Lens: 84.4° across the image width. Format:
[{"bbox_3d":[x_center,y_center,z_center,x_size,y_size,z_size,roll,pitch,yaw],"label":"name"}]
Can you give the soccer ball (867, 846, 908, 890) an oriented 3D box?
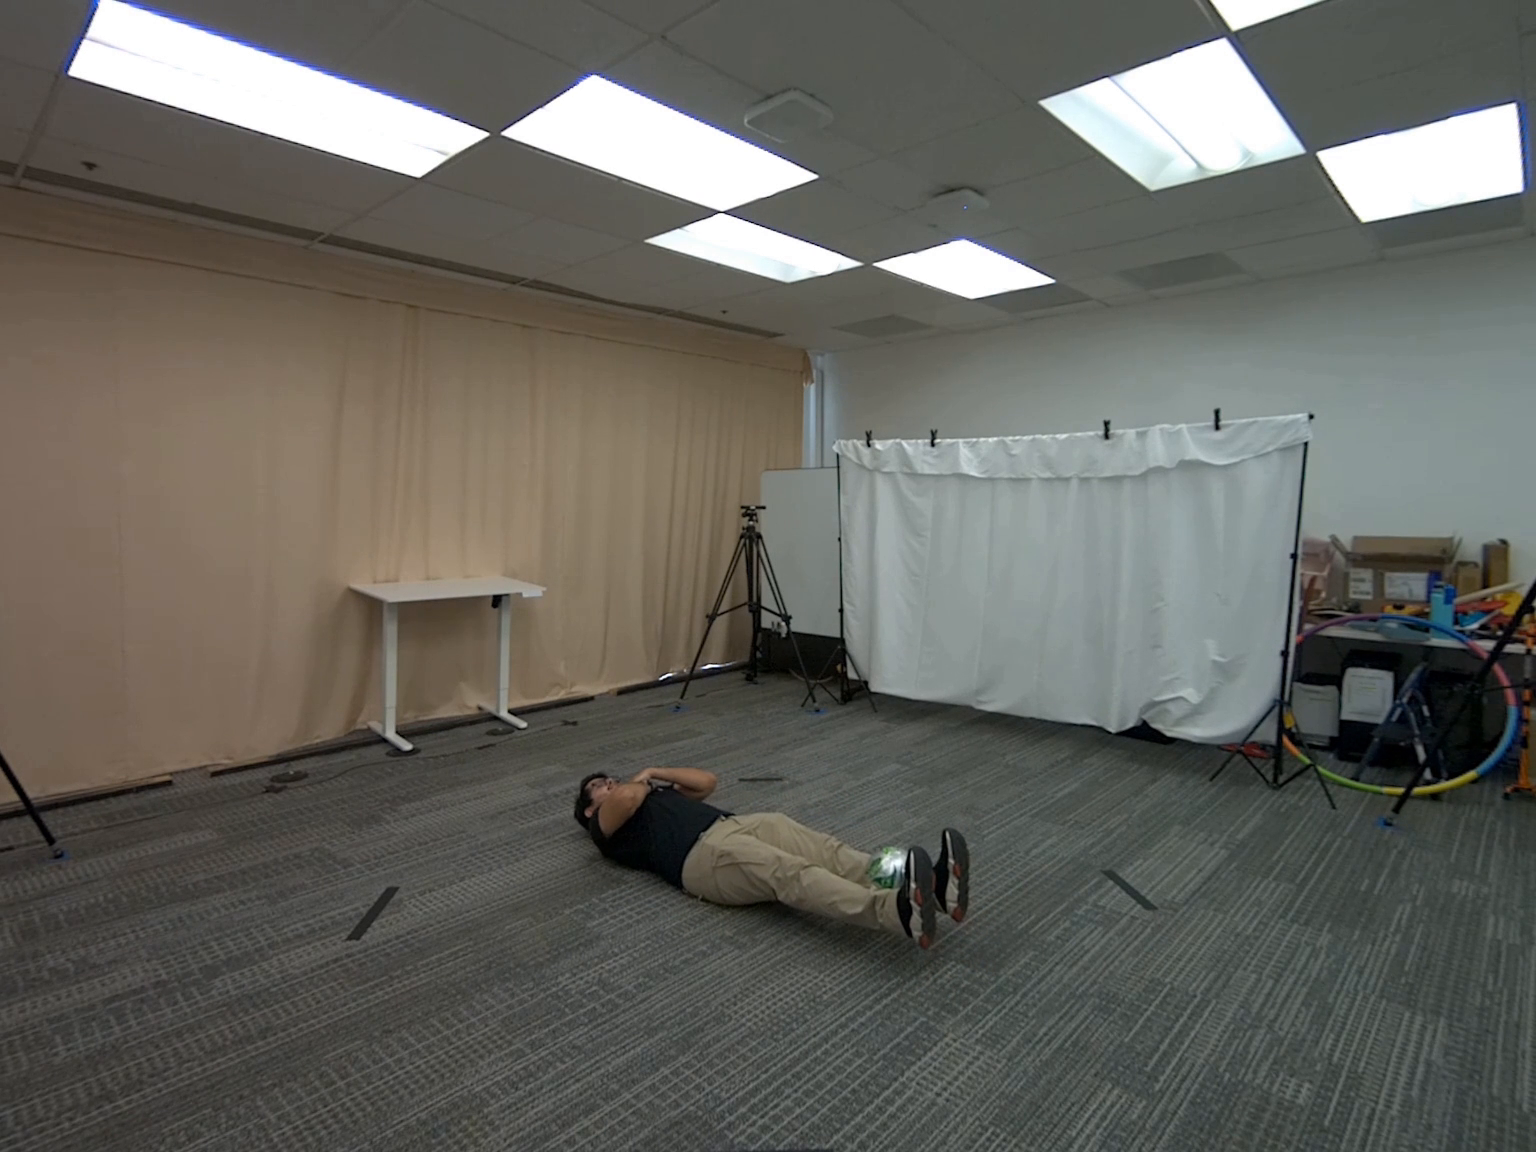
[{"bbox_3d":[0.411,0.960,2.655,0.187,0.187,0.188,0,4,-2],"label":"soccer ball"}]
